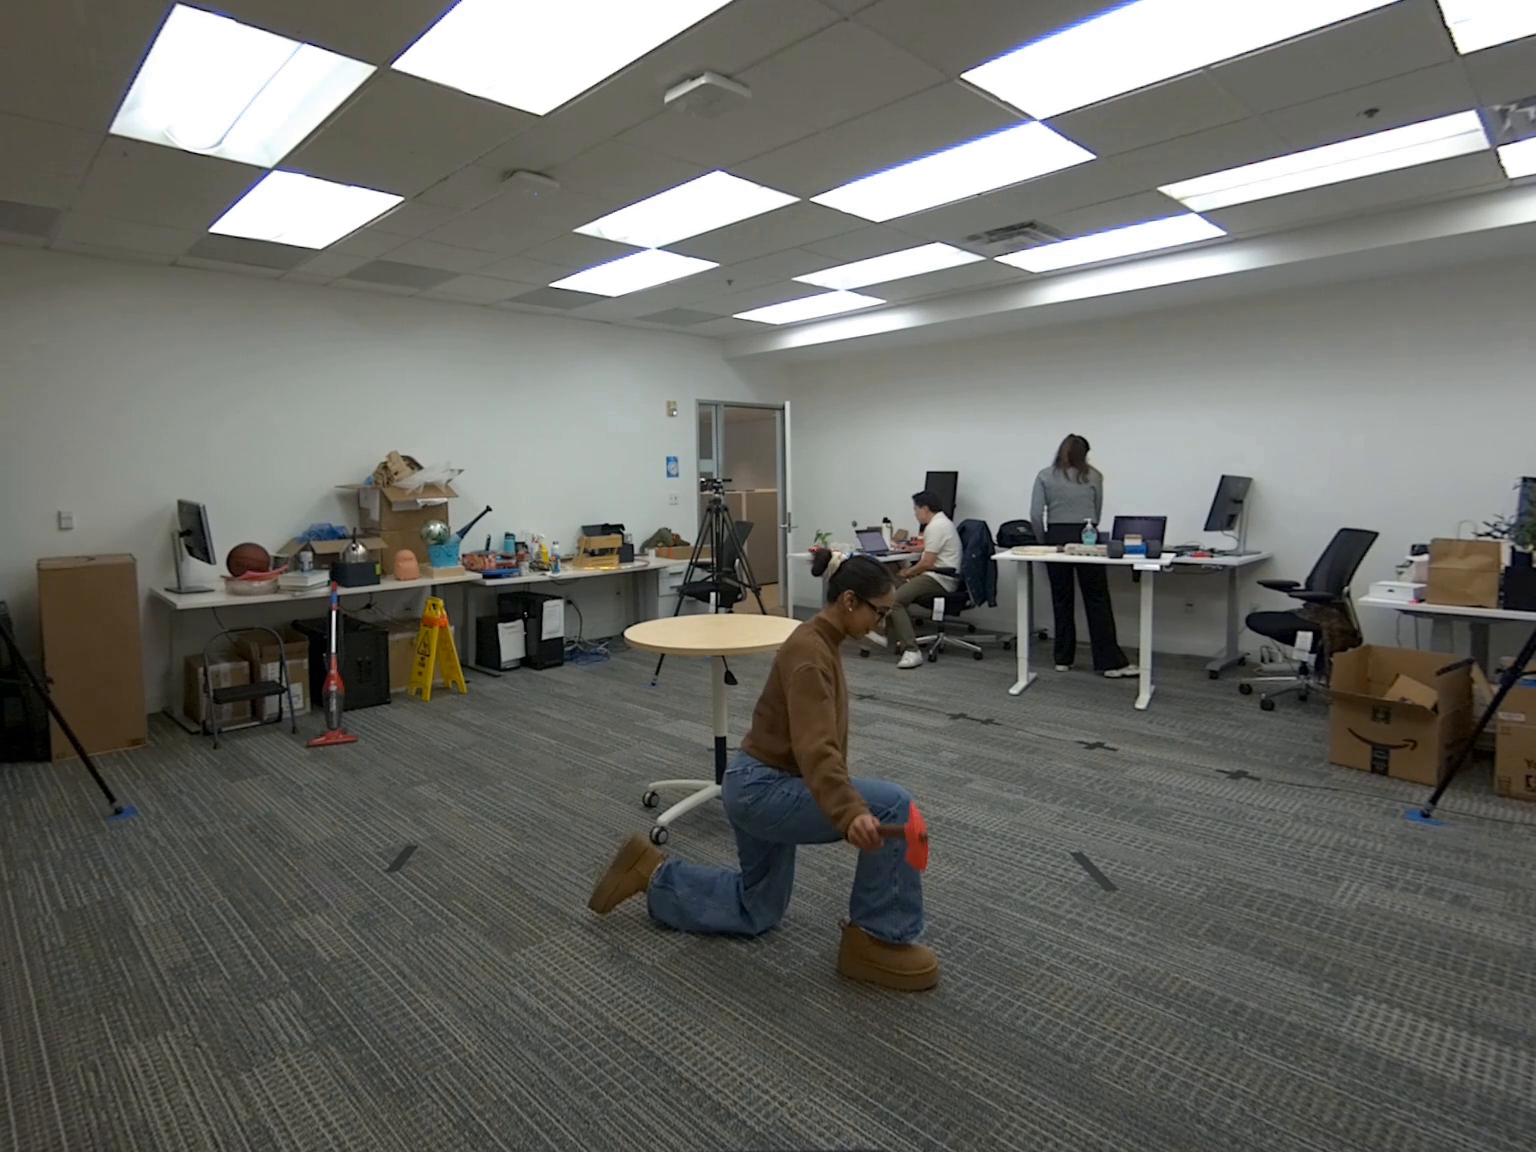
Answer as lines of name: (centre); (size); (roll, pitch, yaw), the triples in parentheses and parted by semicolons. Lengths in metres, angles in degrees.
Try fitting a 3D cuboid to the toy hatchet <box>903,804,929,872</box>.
toy hatchet: (0.258, 0.575, 1.866); (0.029, 0.134, 0.268); (-7, -24, -25)
